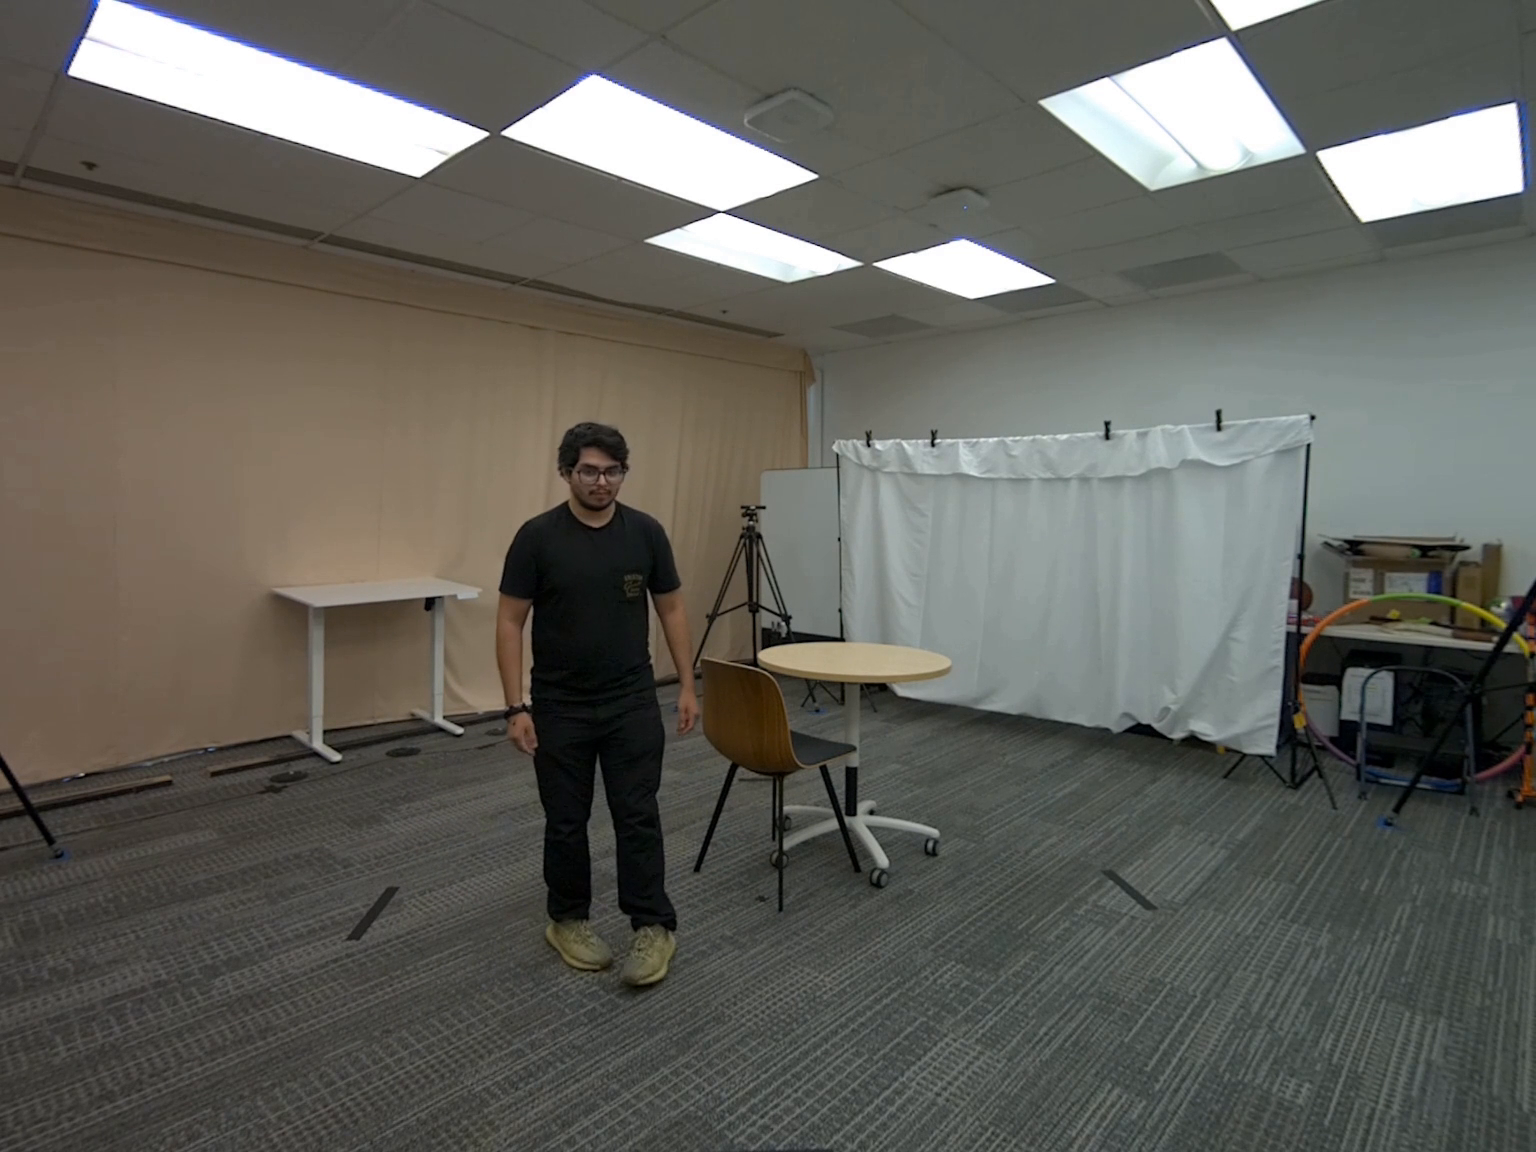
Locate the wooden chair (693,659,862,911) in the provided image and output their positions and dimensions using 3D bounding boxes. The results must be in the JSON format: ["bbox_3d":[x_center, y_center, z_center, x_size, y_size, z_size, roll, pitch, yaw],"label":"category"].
[{"bbox_3d":[0.045,0.699,3.170,0.508,0.874,0.494,-9,8,-44],"label":"wooden chair"}]
